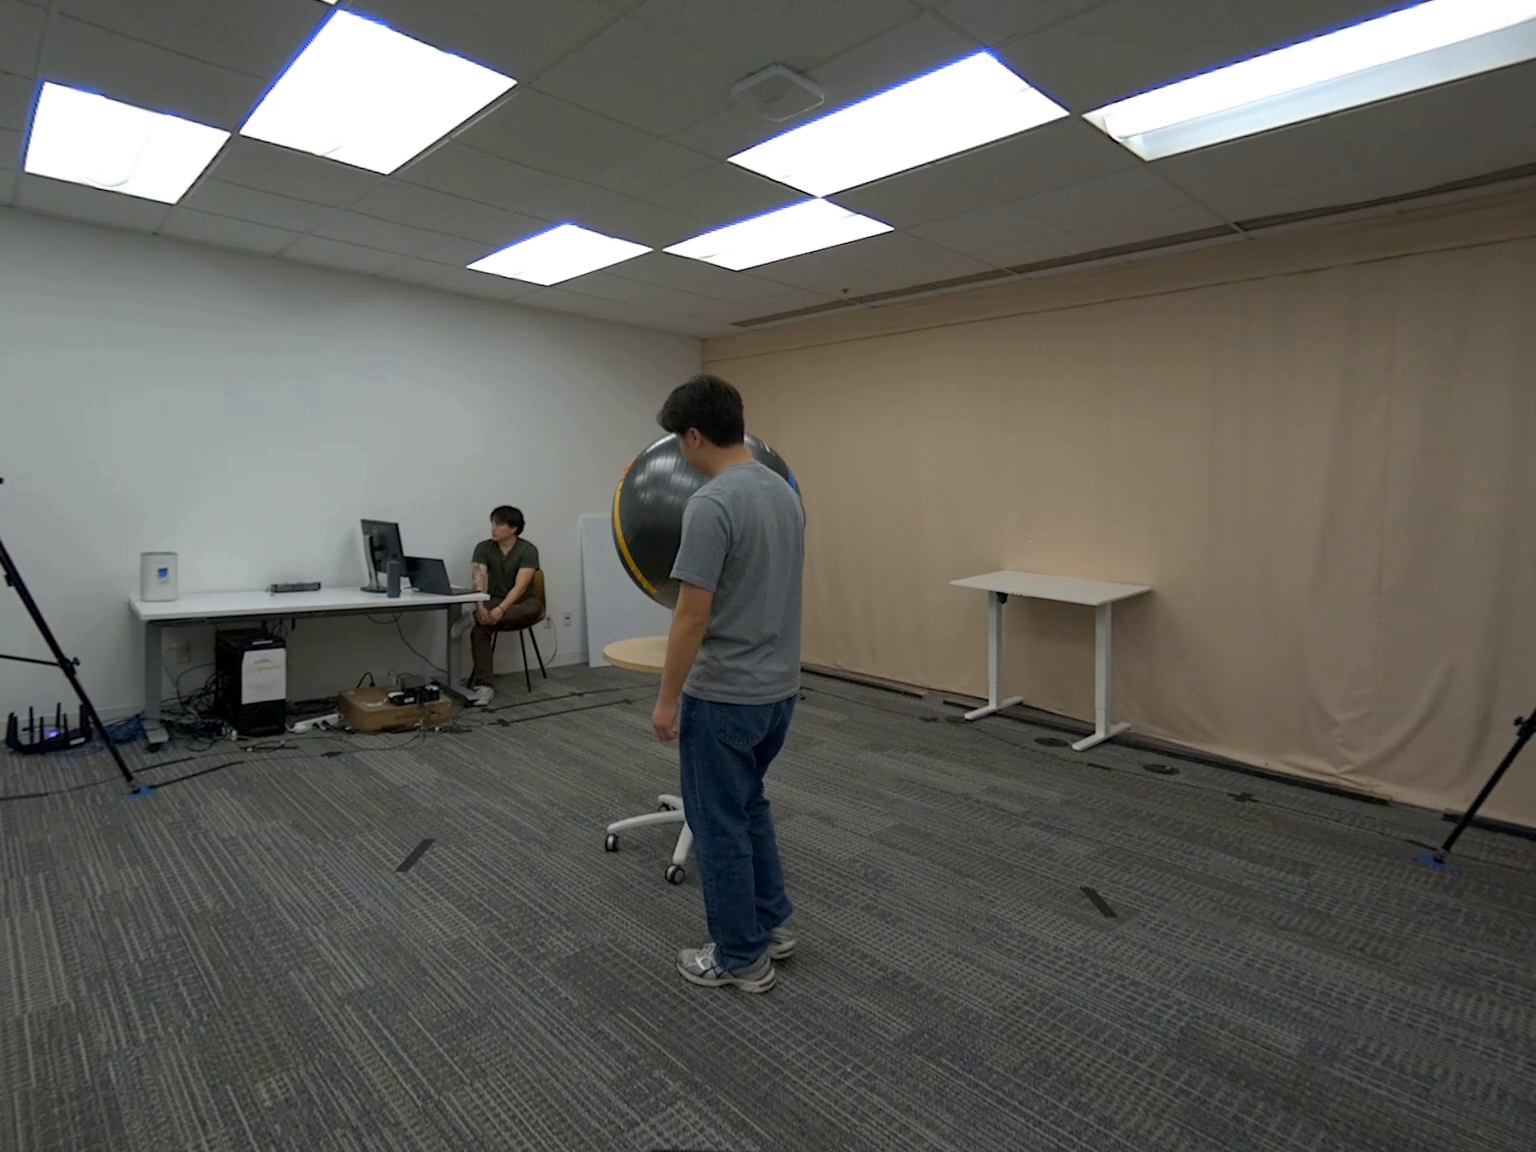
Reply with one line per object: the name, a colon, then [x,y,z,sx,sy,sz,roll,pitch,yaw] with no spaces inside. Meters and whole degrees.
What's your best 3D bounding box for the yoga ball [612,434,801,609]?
yoga ball: [-0.242,-0.215,3.332,0.757,0.756,0.761,1,4,-1]
